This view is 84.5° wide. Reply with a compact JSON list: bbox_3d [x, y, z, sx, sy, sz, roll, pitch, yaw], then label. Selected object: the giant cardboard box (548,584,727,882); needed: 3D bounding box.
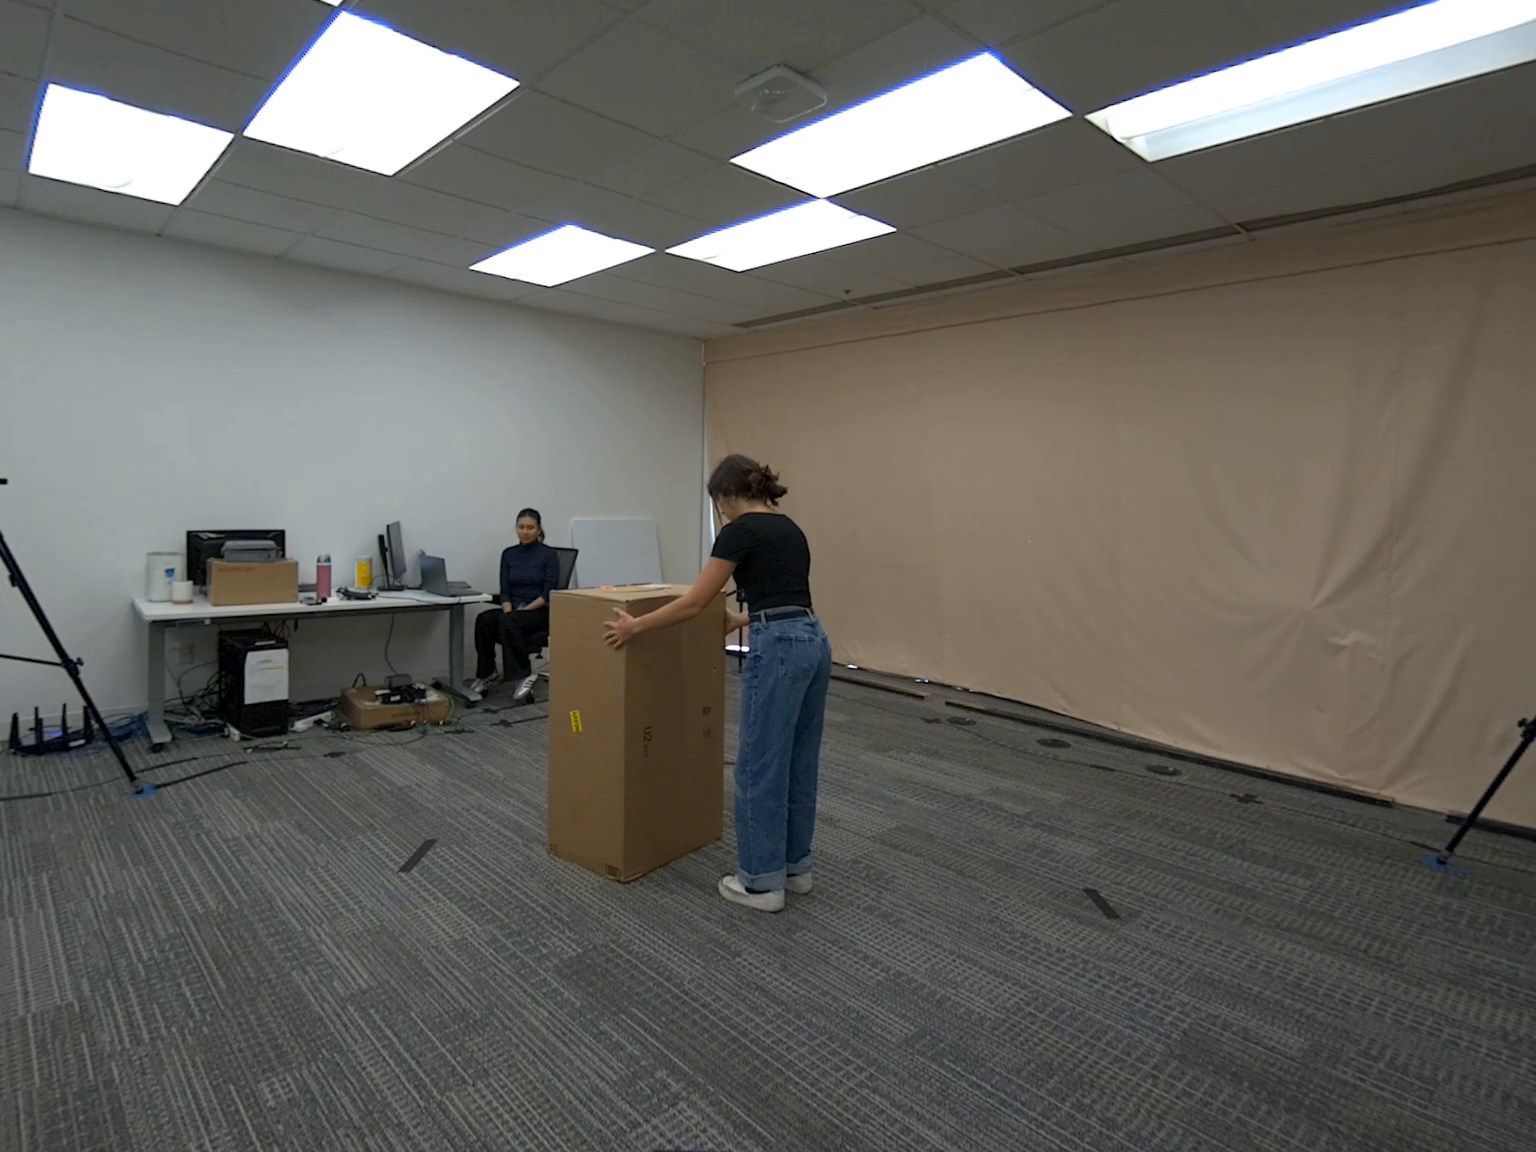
[{"bbox_3d":[-0.520,0.567,3.350,0.436,1.024,0.565,3,4,37],"label":"giant cardboard box"}]
